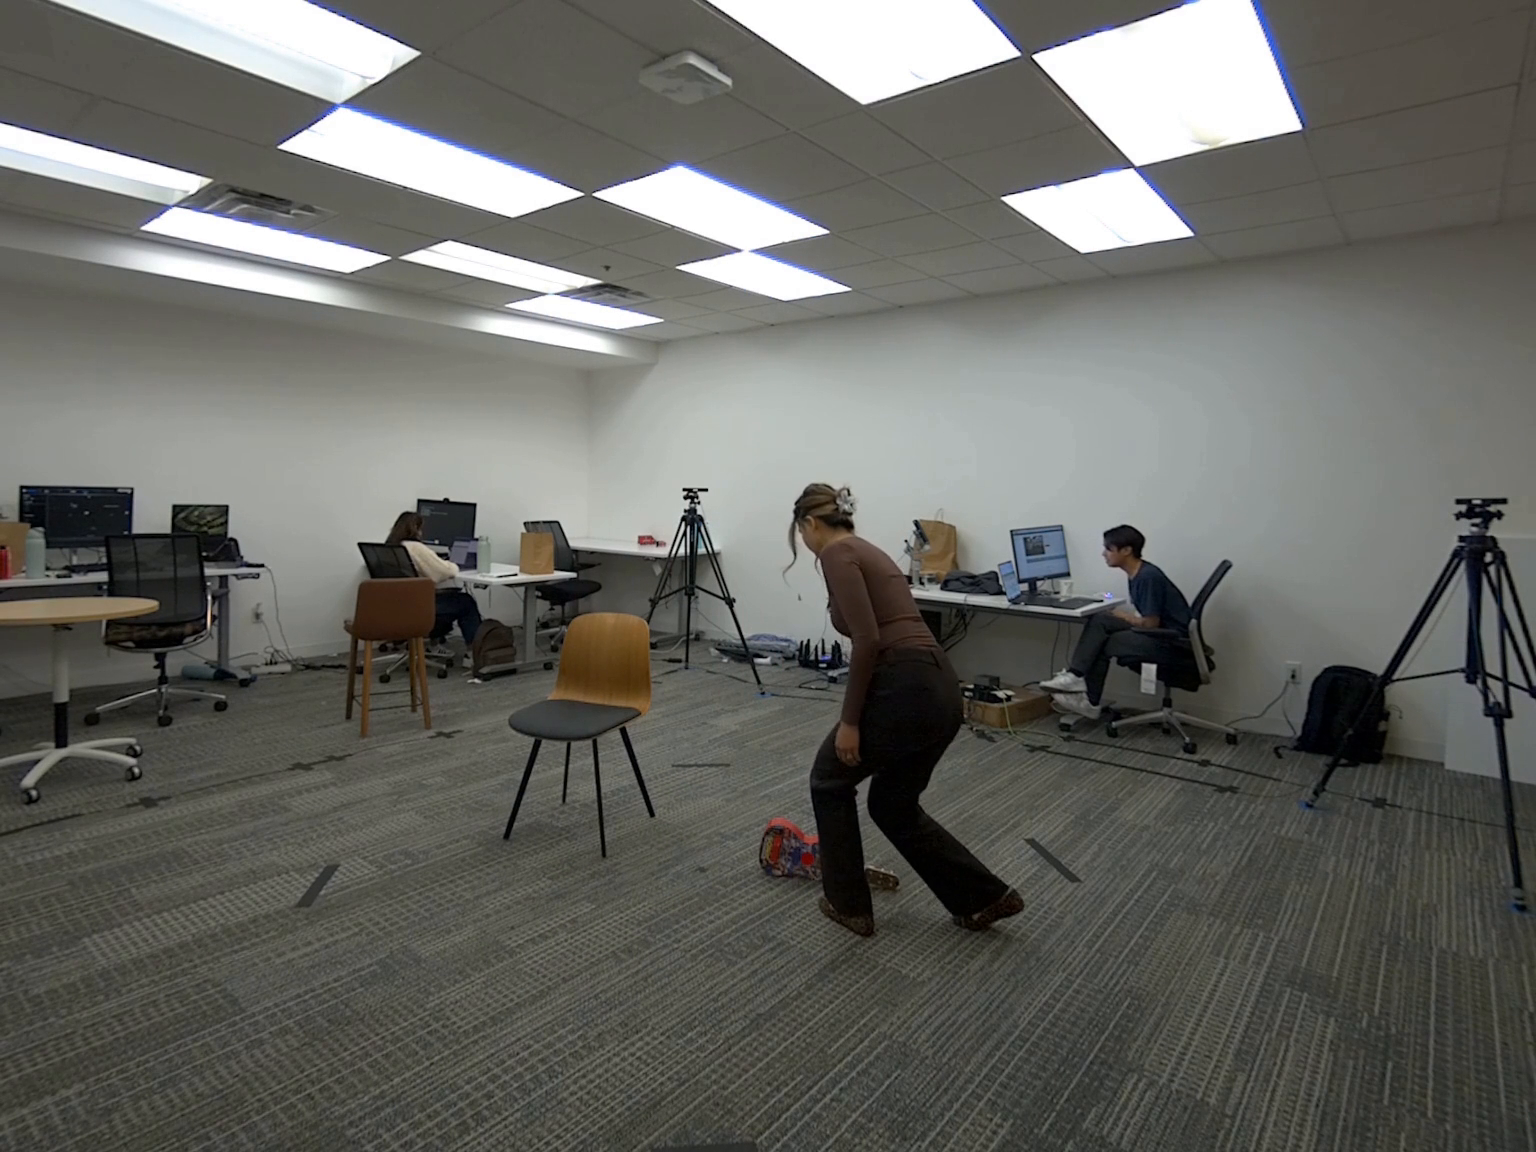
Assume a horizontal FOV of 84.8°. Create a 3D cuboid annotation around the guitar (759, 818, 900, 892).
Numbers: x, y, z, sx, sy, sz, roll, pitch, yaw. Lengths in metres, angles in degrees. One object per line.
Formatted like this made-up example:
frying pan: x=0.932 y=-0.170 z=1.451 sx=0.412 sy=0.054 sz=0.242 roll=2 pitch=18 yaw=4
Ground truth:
guitar: x=0.200 y=1.043 z=3.047 sx=0.504 sy=0.192 sz=0.070 roll=20 pitch=8 yaw=9
